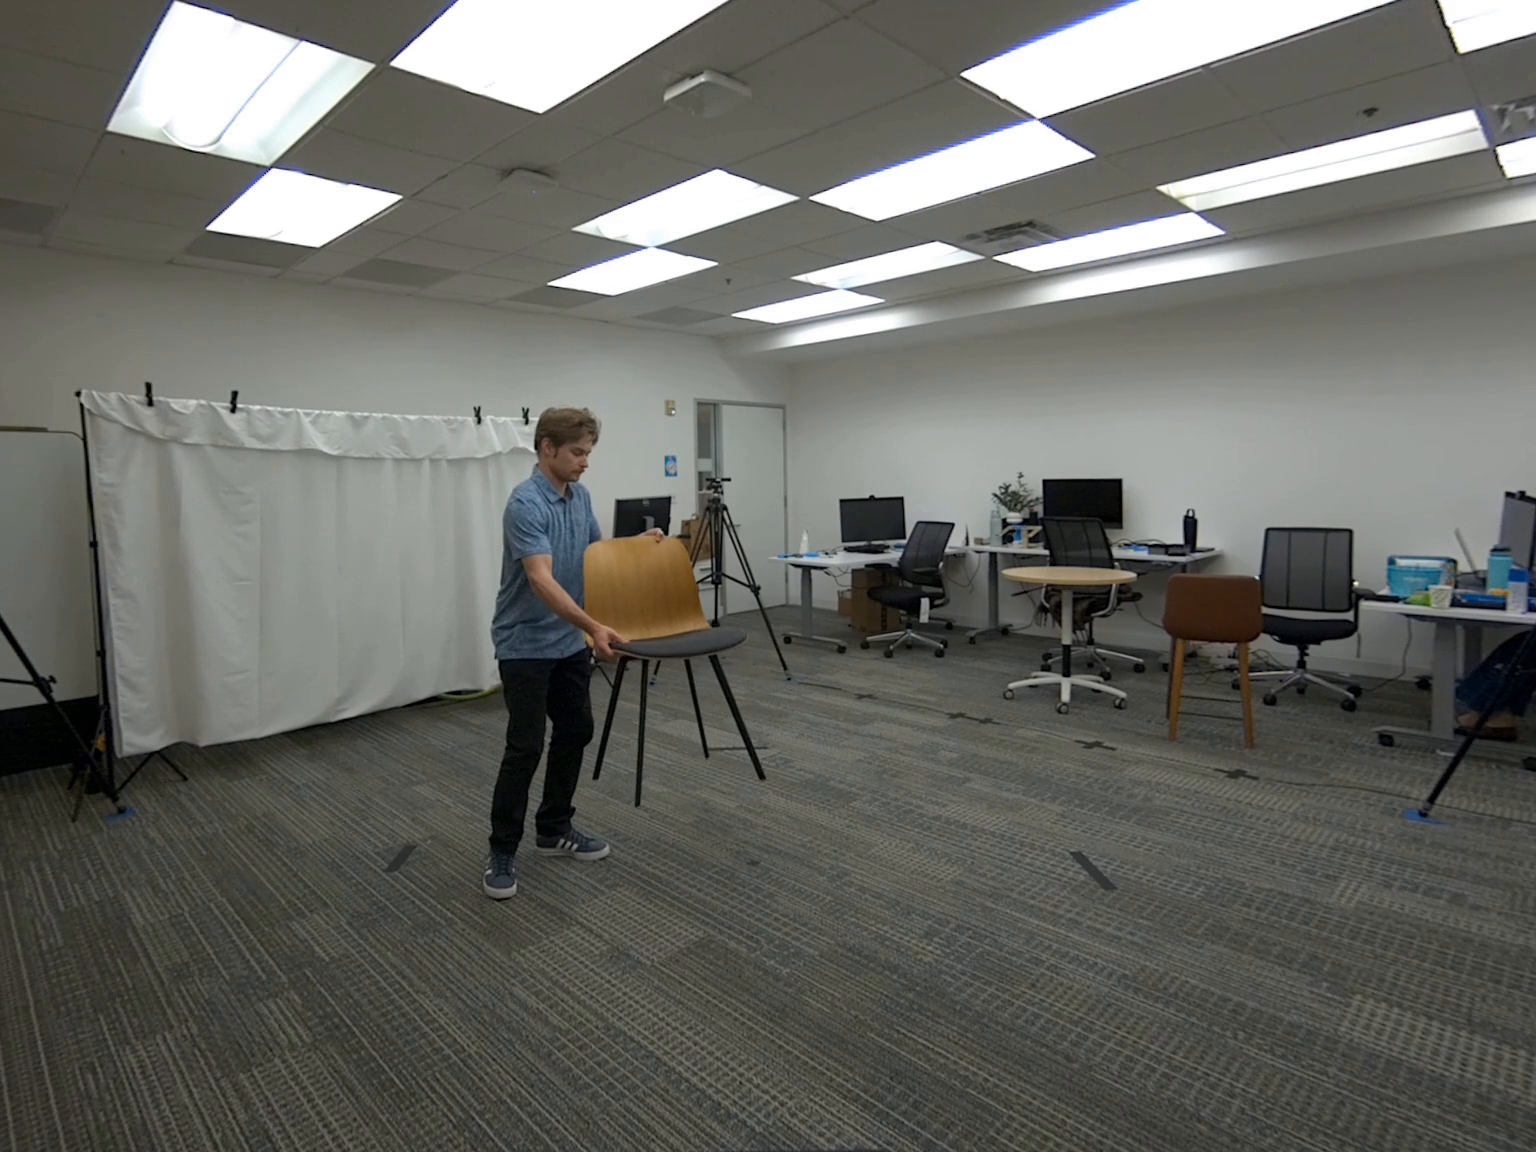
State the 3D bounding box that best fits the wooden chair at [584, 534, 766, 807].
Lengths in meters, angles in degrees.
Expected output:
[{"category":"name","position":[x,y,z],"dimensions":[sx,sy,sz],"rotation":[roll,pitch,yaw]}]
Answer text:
[{"category":"wooden chair","position":[-0.351,0.271,2.900],"dimensions":[0.468,0.882,0.532],"rotation":[-4,-5,-28]}]
